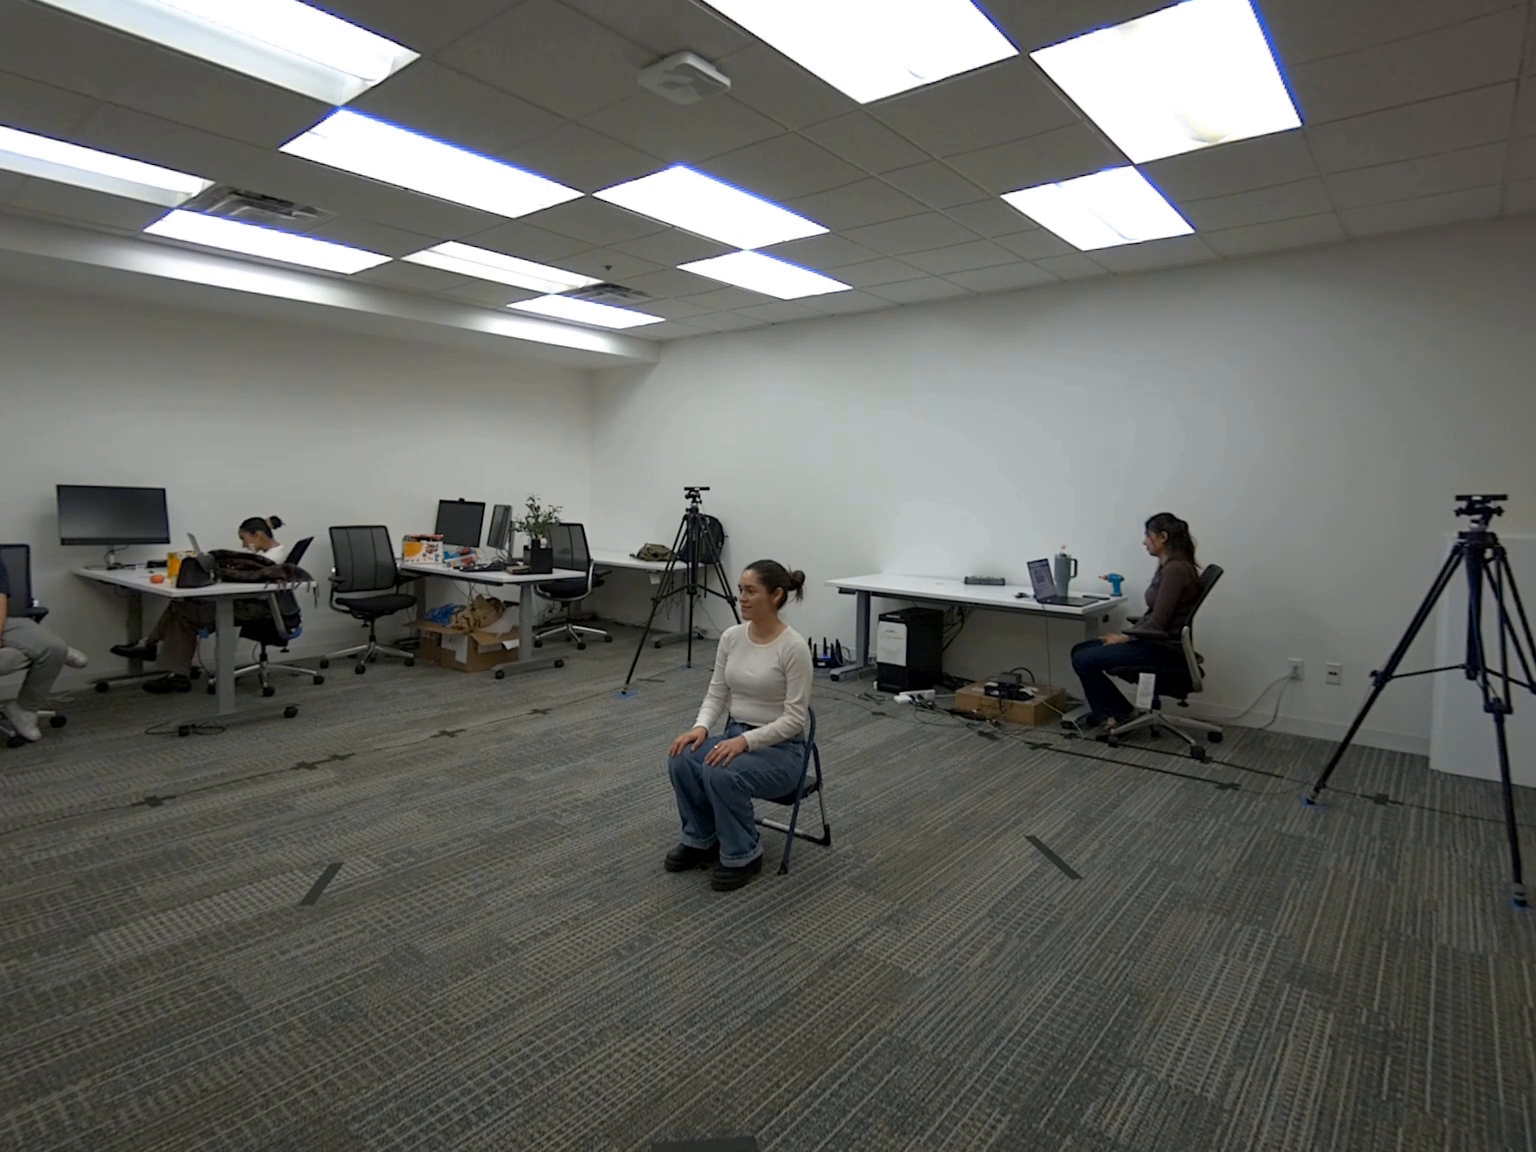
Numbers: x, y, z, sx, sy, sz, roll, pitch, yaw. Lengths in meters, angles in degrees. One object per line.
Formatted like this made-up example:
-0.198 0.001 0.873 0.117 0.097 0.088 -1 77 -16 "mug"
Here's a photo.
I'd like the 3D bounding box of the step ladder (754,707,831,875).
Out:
-0.014 0.743 3.318 0.445 0.604 0.339 4 4 37 "step ladder"
